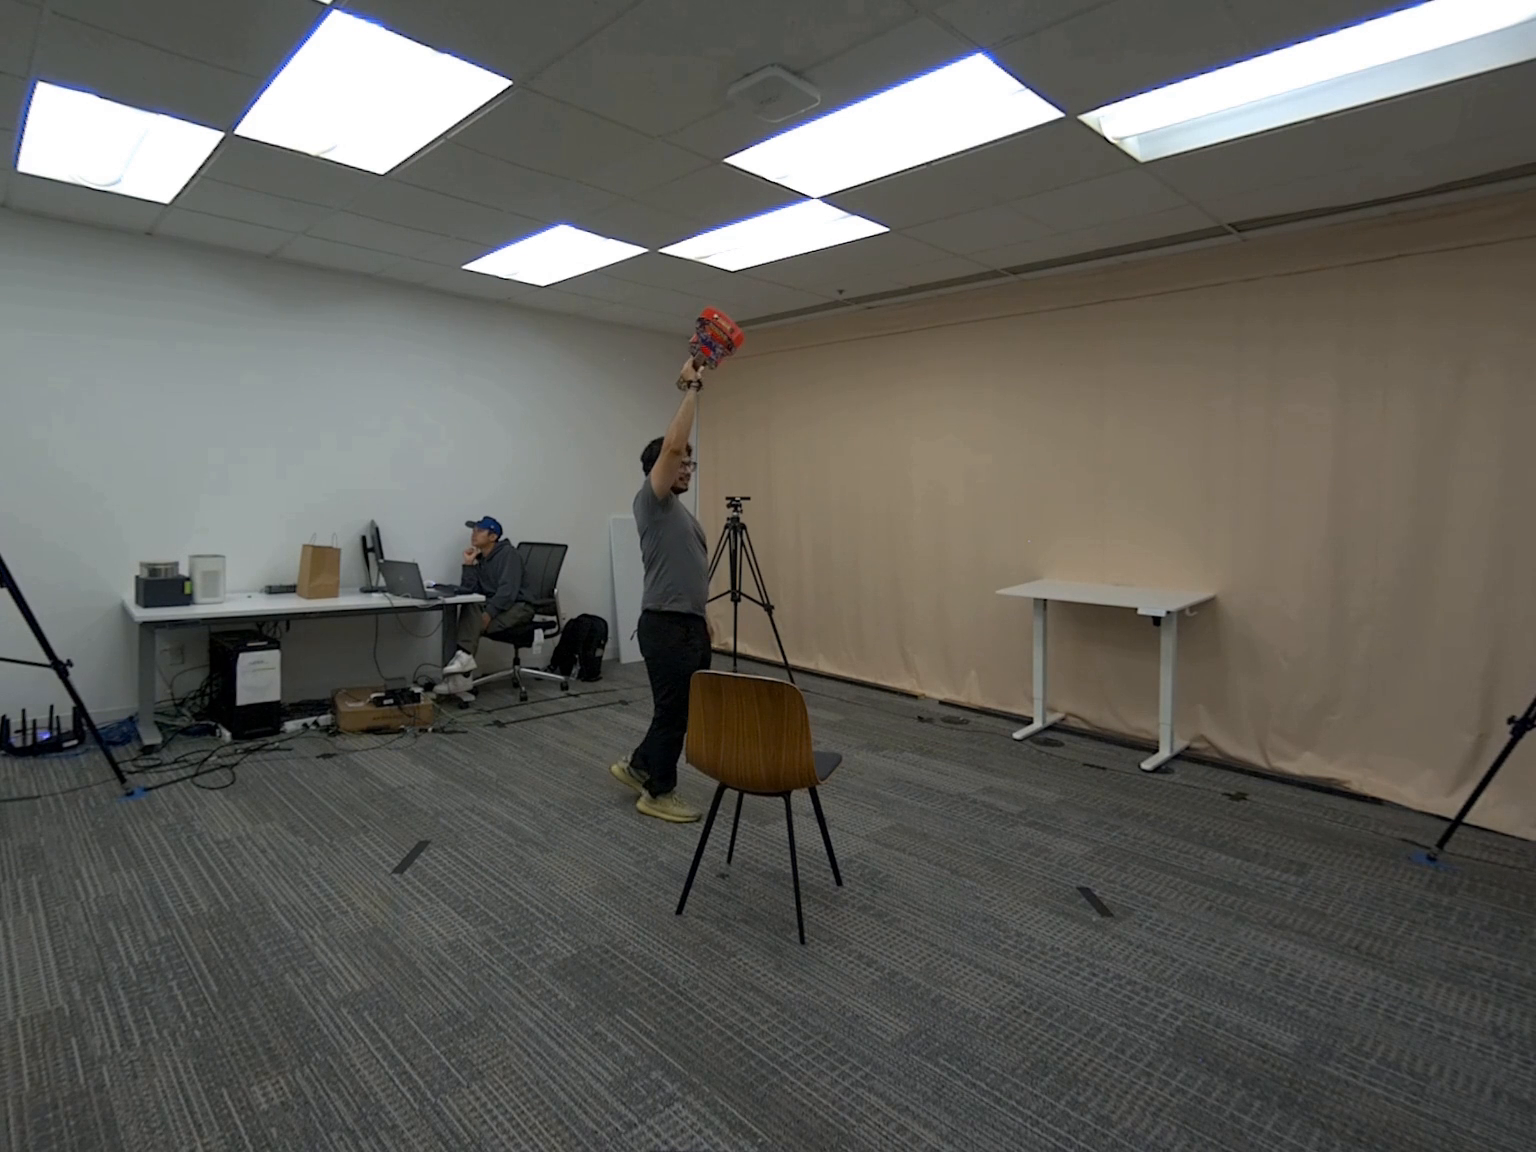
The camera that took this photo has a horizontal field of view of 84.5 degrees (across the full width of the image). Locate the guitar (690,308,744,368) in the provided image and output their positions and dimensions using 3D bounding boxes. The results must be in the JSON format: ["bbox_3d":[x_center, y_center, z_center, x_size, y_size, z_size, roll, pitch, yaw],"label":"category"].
[{"bbox_3d":[-0.286,-0.898,3.368,0.190,0.071,0.504,44,-26,-16],"label":"guitar"}]
